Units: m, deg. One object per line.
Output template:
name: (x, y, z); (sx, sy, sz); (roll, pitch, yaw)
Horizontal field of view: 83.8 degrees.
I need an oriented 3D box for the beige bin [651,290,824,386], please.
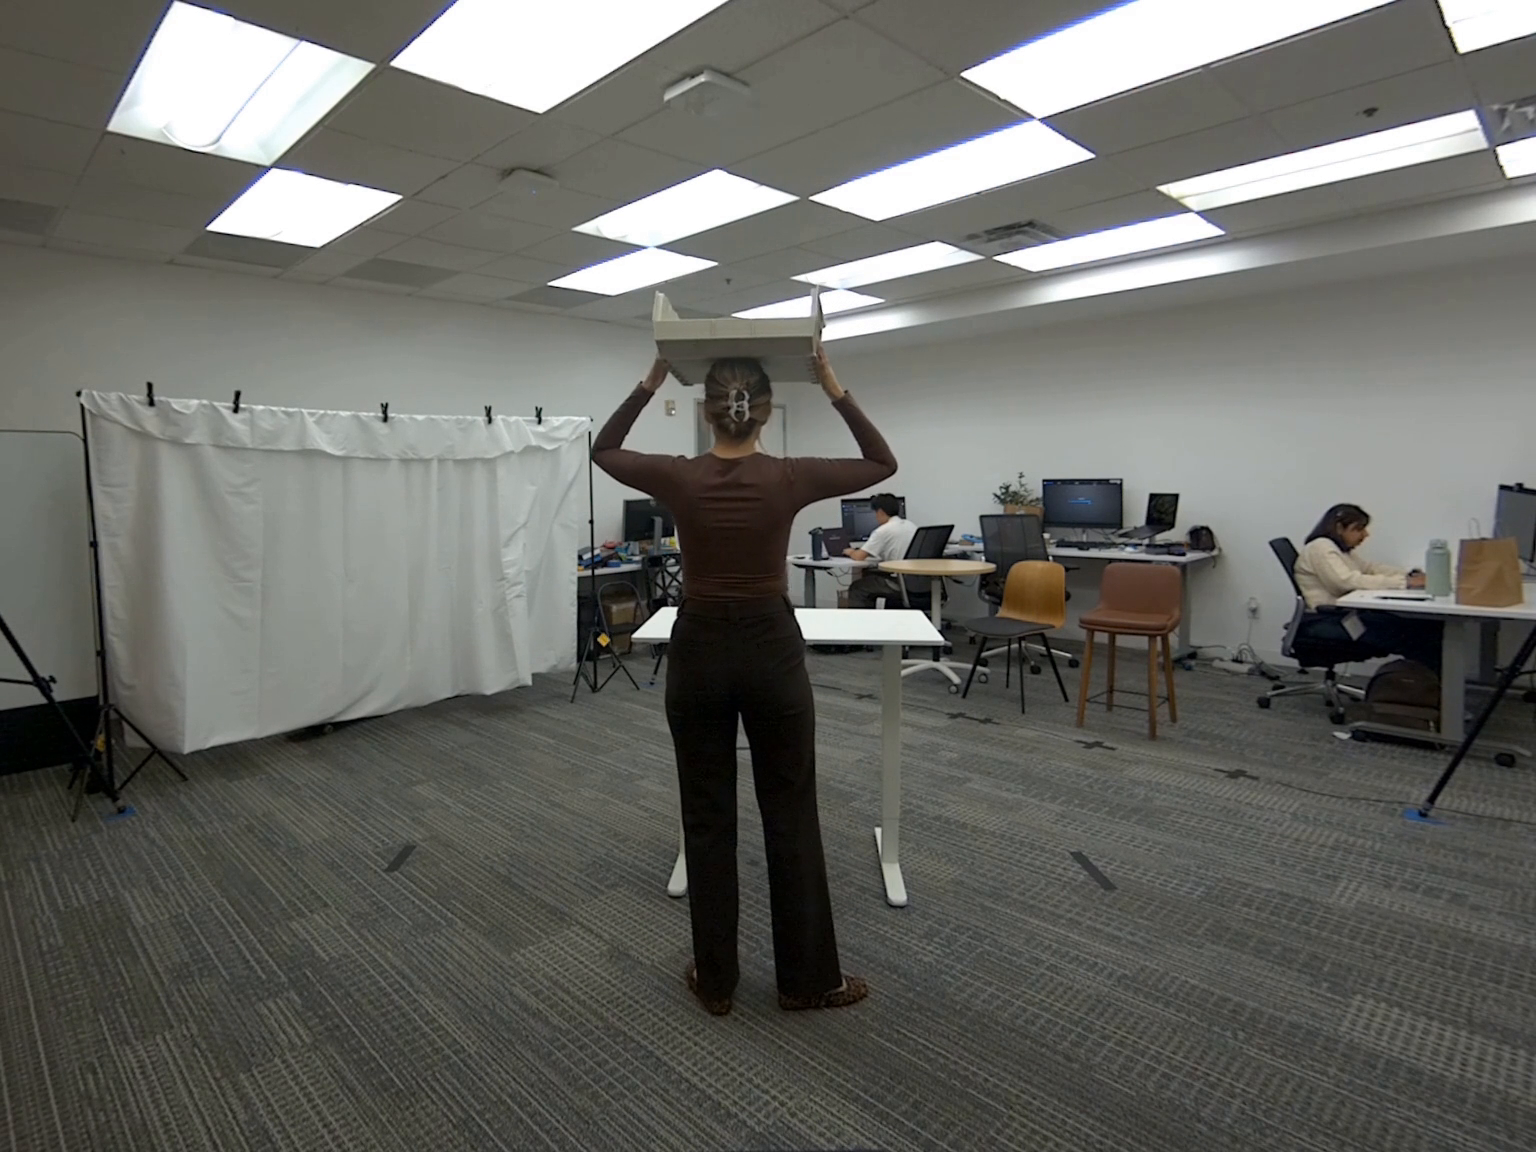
beige bin: (-0.051, -0.649, 2.312); (0.425, 0.189, 0.373); (1, -3, 7)
